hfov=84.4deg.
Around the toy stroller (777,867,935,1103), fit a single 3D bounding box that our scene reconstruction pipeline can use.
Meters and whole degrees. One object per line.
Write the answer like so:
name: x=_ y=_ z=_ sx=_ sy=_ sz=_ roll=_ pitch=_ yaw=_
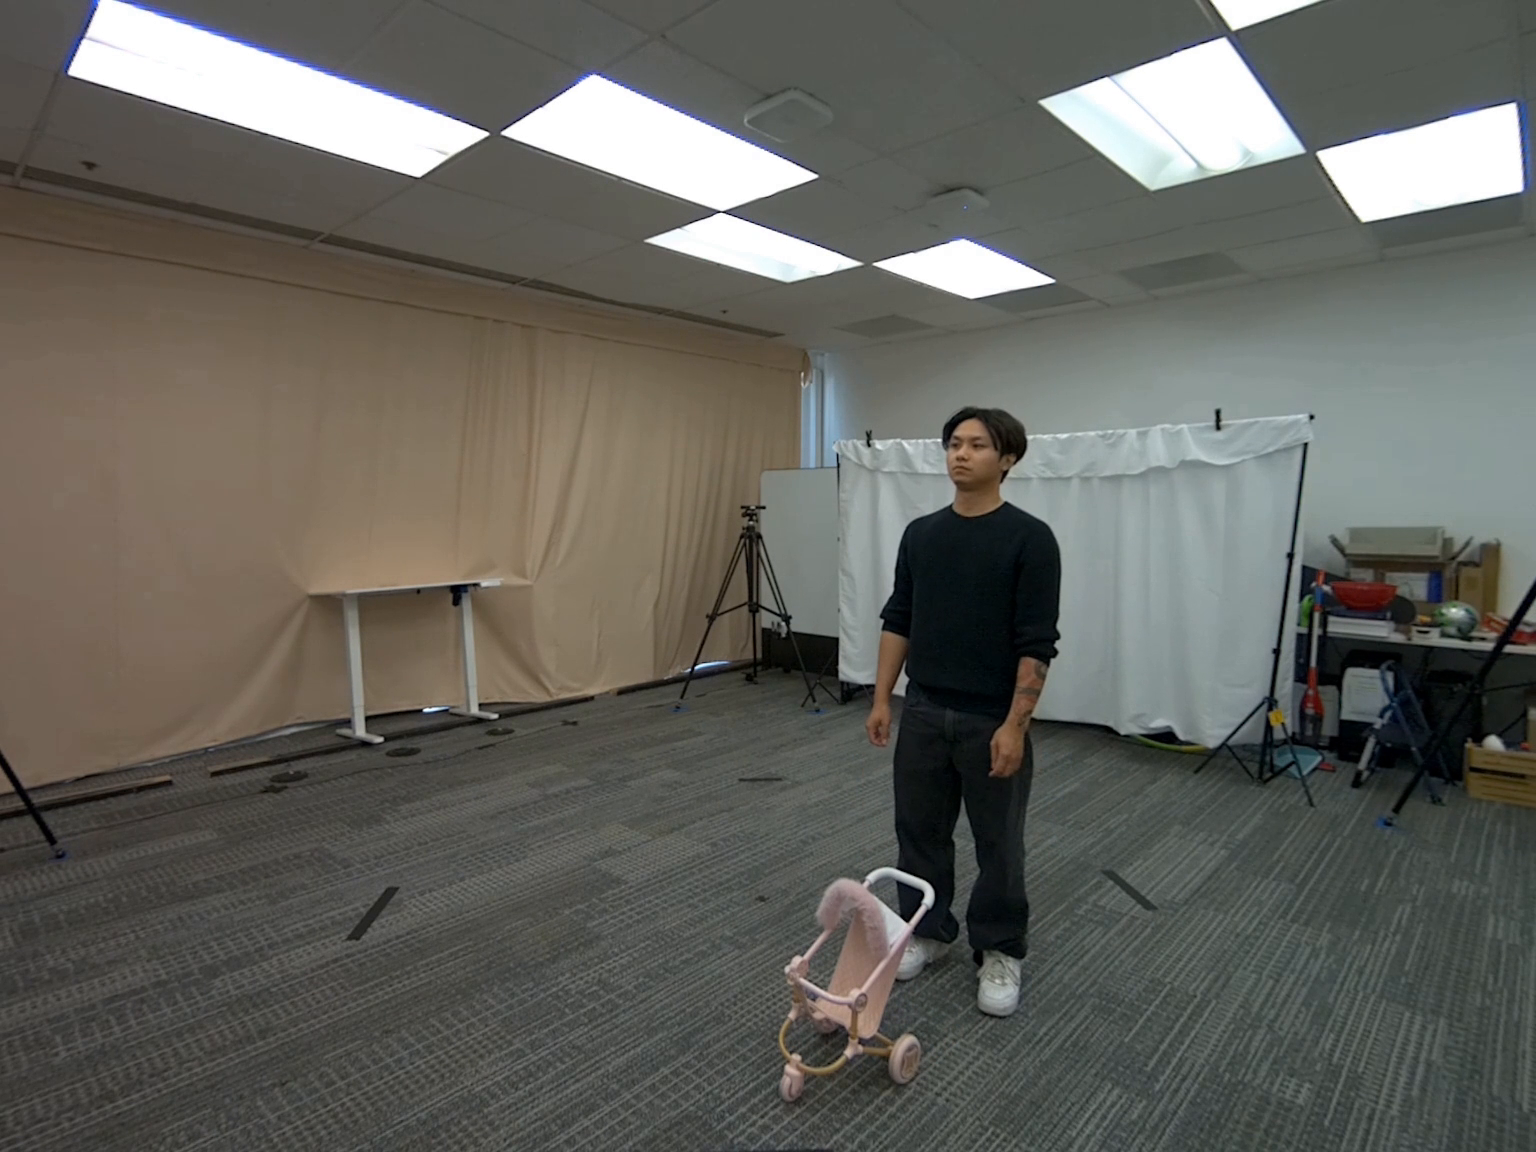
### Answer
toy stroller: x=0.206 y=0.999 z=2.083 sx=0.330 sy=0.536 sz=0.290 roll=20 pitch=-9 yaw=-36
